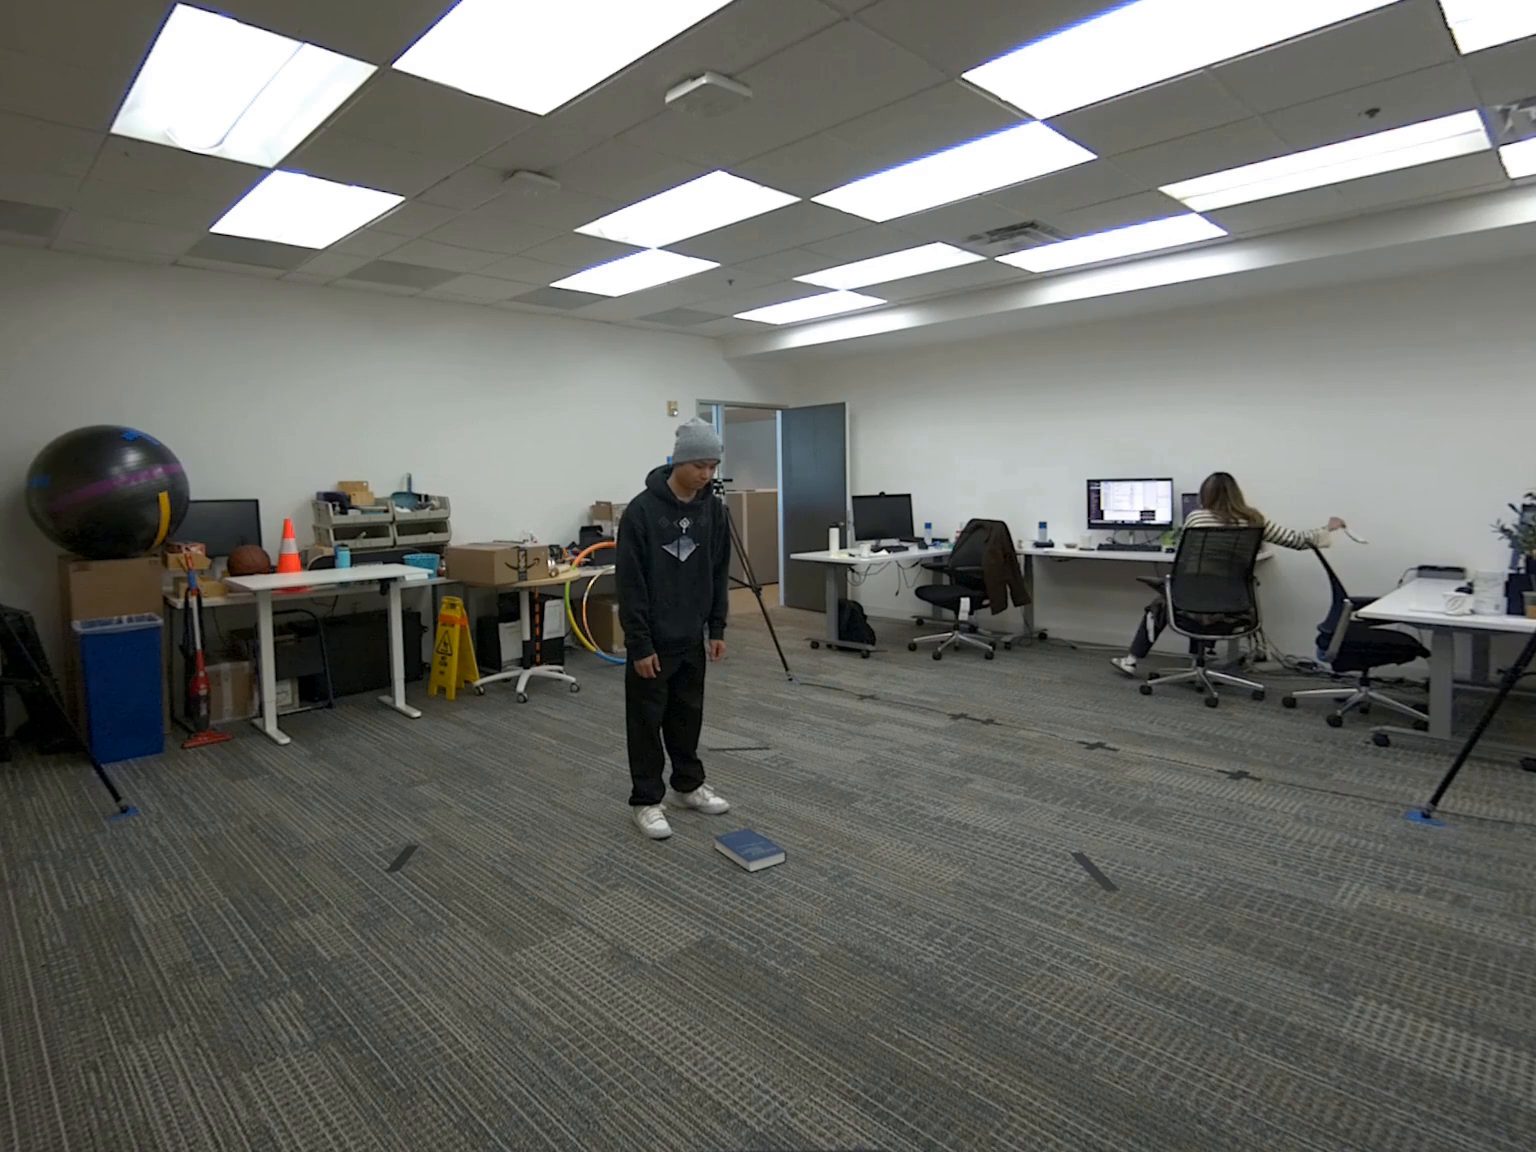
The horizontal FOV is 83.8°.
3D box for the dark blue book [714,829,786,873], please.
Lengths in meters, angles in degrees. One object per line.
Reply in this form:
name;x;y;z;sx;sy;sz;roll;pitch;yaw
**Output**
dark blue book;-0.068;1.011;3.170;0.159;0.045;0.252;-6;8;-34
